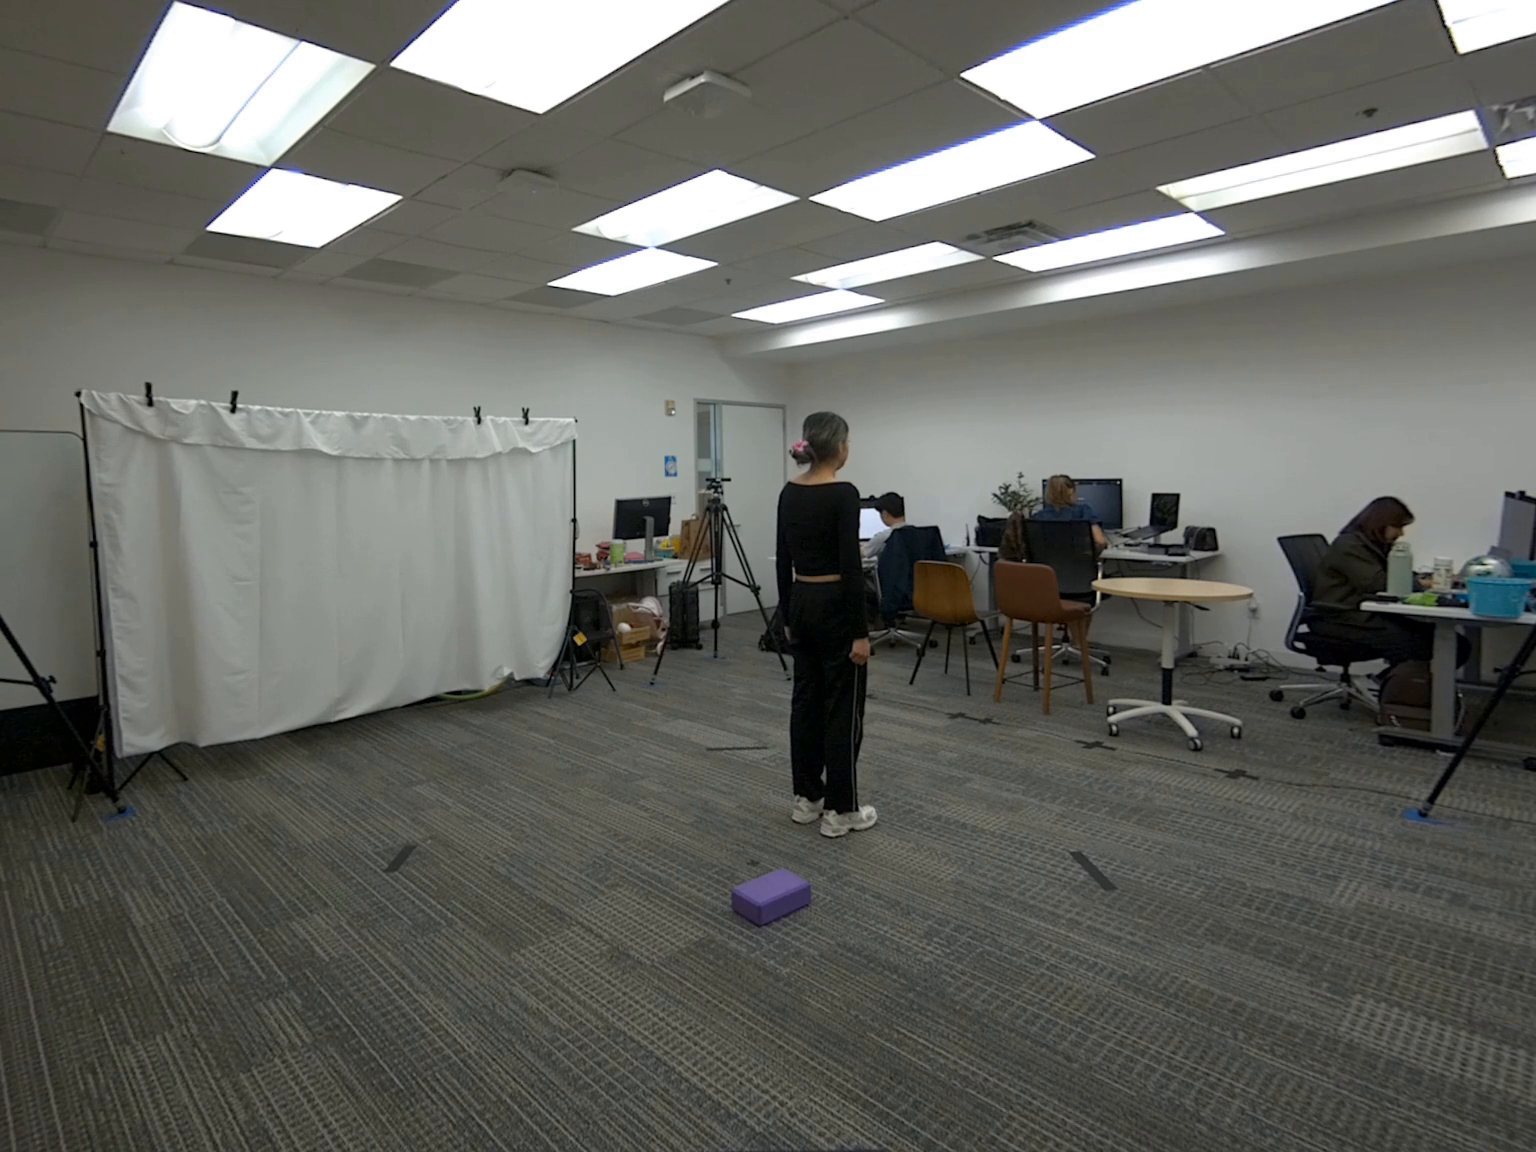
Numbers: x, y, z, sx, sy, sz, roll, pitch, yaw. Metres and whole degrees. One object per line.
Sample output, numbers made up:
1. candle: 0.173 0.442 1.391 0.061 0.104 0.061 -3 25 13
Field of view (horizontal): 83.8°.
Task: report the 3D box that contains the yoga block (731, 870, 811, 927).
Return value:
1. yoga block: 0.016 1.043 2.775 0.223 0.076 0.153 -6 8 -40
